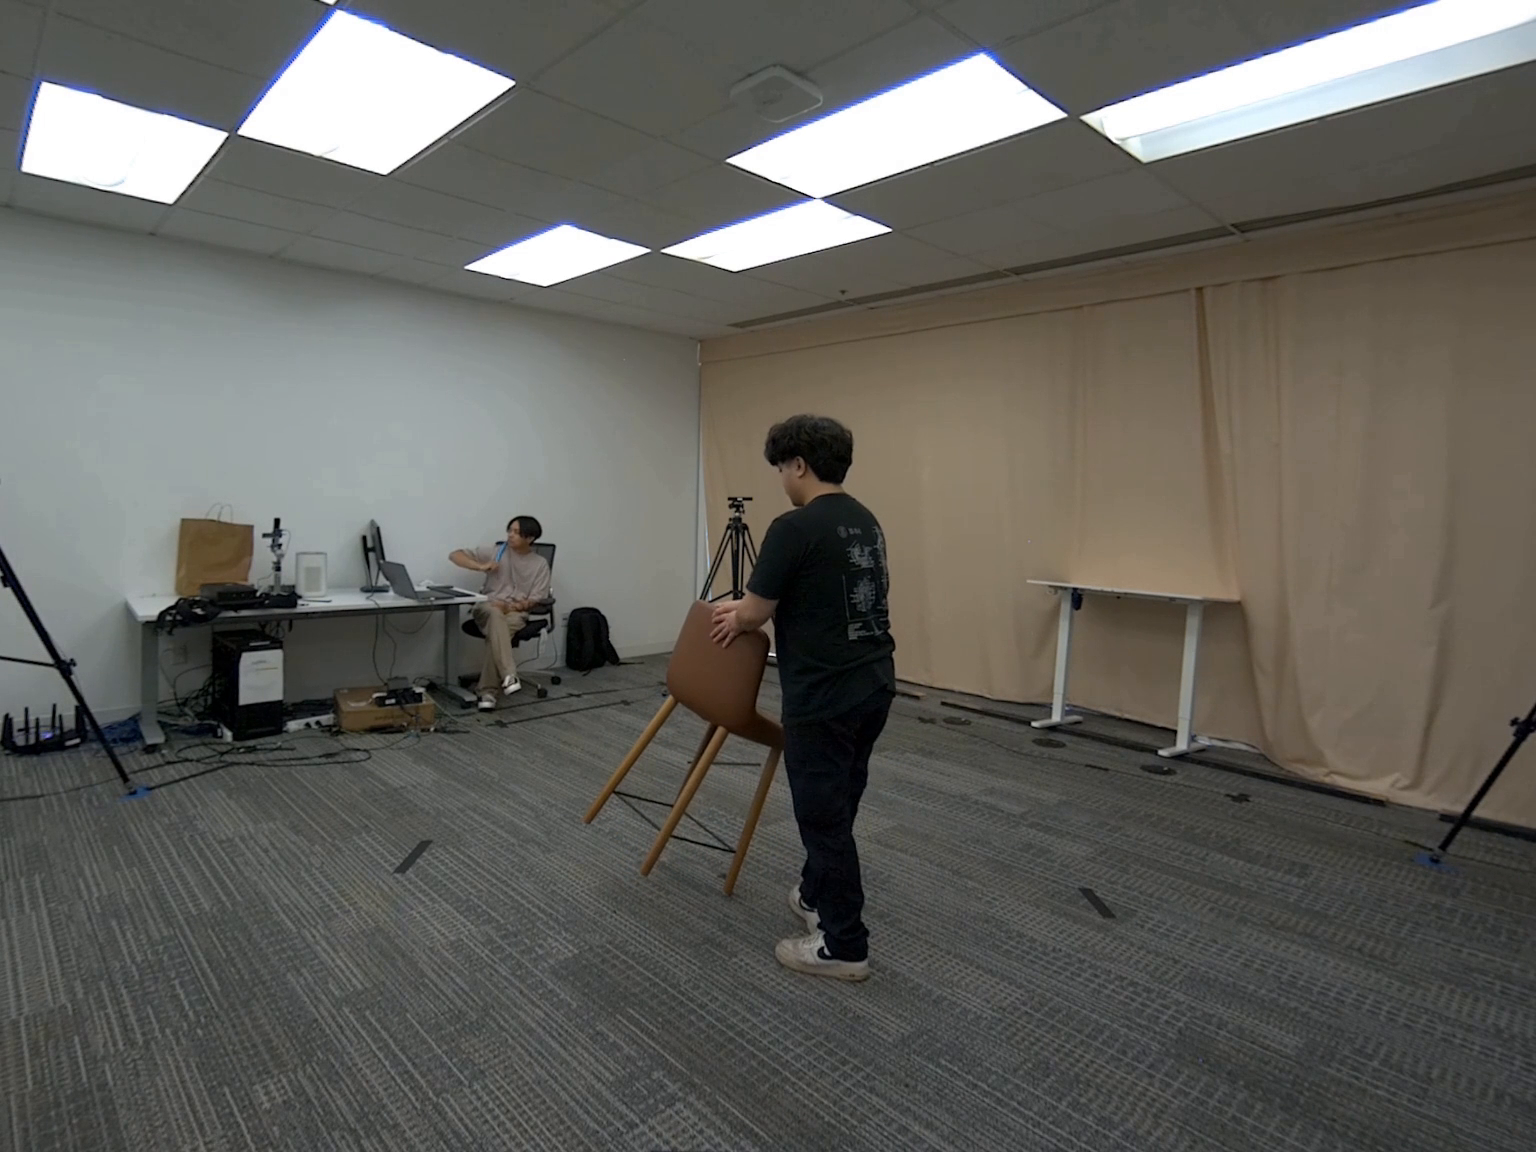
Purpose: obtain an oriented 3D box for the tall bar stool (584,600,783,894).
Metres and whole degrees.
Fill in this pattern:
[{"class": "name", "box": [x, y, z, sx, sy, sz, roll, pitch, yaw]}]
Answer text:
[{"class": "tall bar stool", "box": [-0.214, 0.596, 2.994, 0.470, 0.891, 0.453, 20, -7, 45]}]
